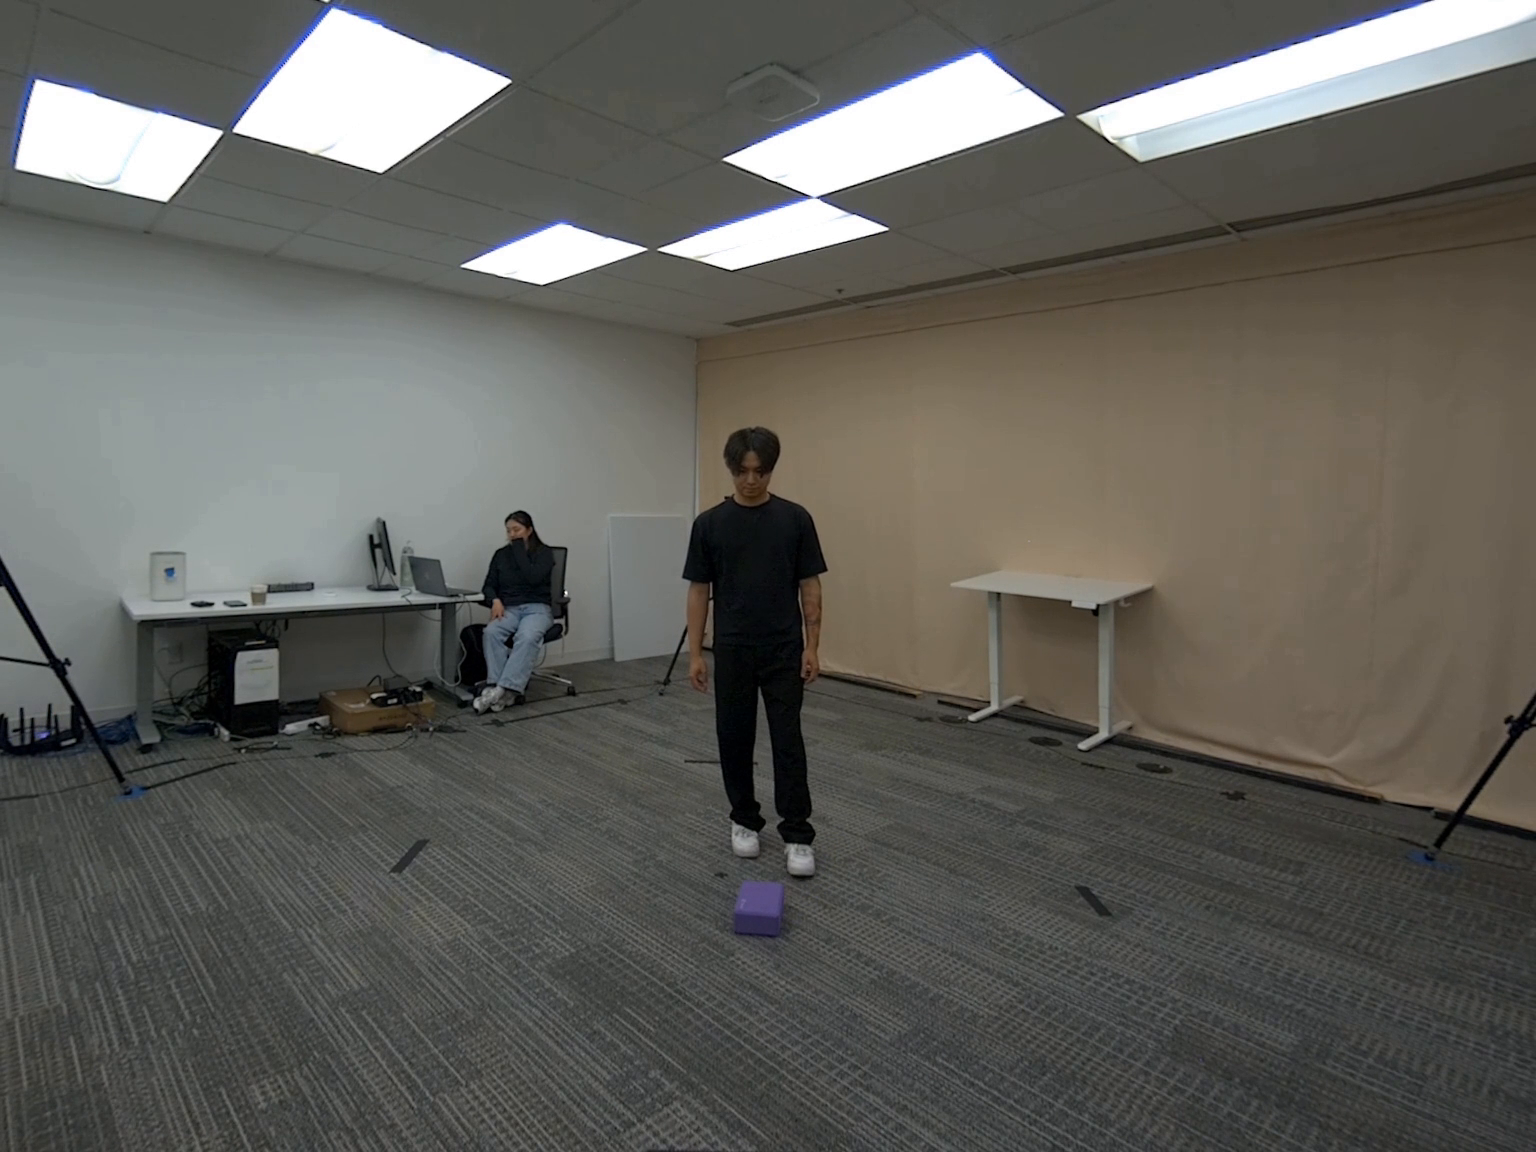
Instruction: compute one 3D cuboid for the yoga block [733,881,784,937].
[{"bbox_3d":[-0.037,1.098,2.780,0.150,0.076,0.229,0,6,6],"label":"yoga block"}]
